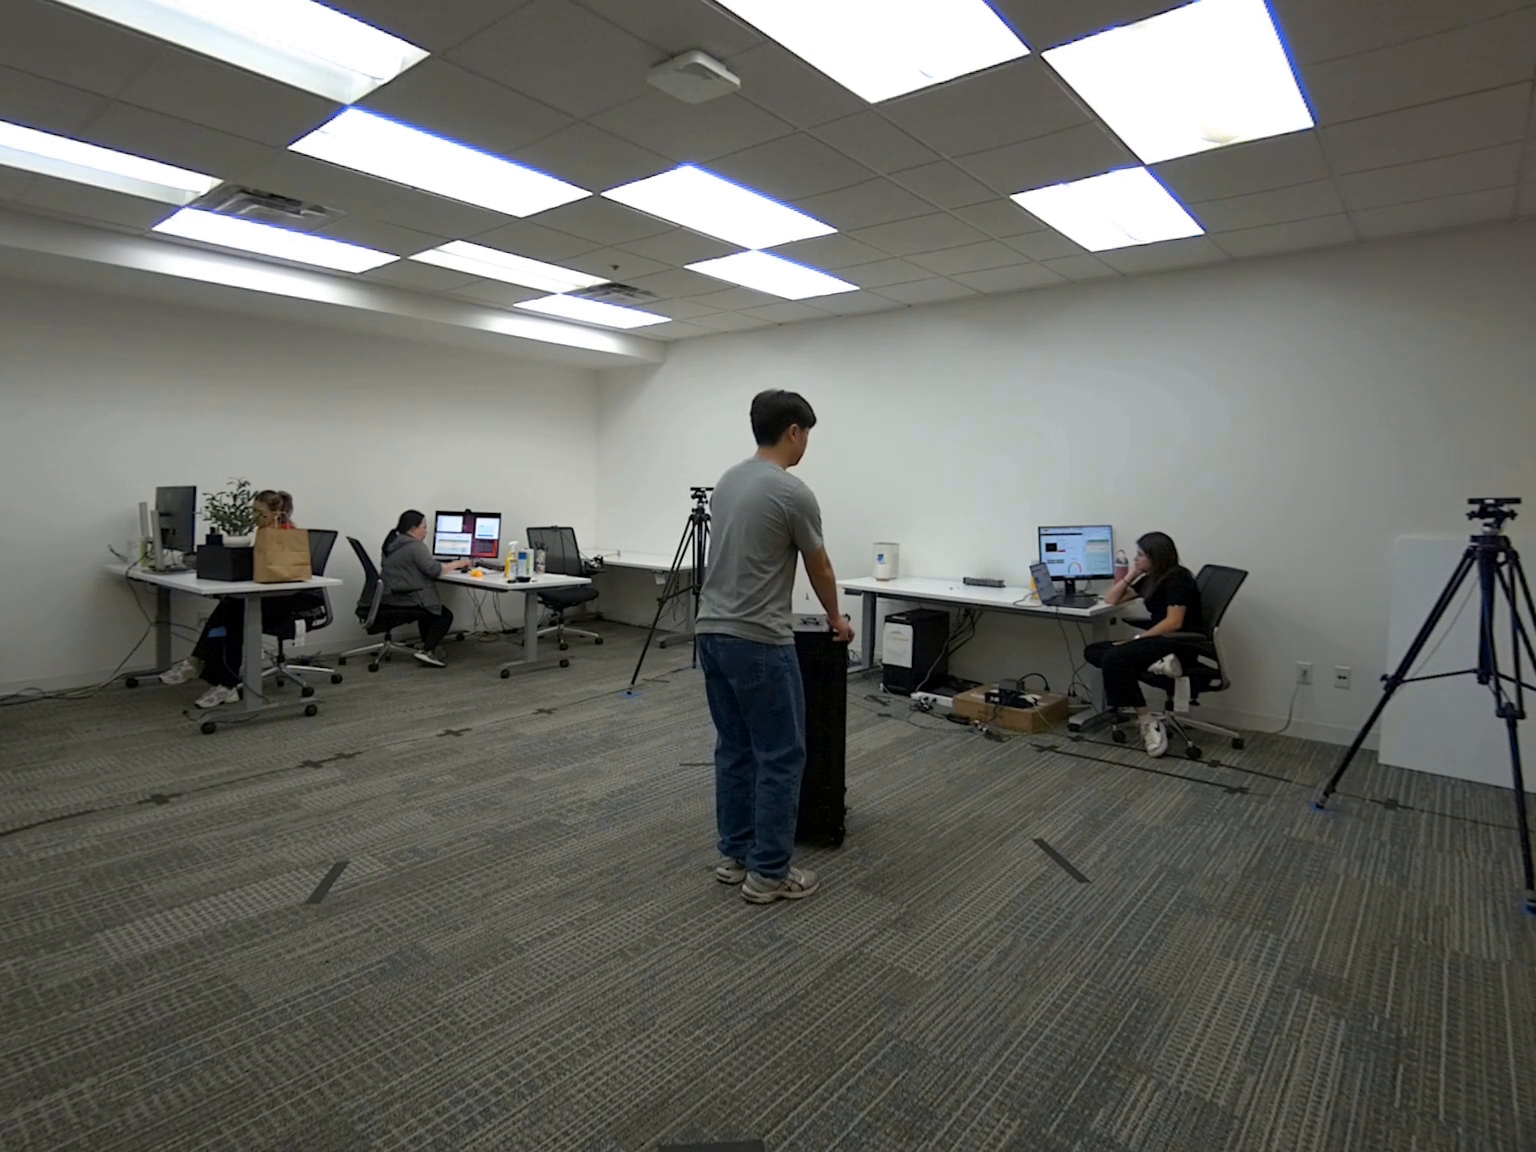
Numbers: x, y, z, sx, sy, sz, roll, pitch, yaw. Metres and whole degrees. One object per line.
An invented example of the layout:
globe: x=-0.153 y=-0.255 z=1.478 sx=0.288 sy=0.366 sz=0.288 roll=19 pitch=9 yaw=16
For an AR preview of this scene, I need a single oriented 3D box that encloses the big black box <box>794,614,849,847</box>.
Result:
big black box: x=0.137 y=0.615 z=3.502 sx=0.400 sy=0.859 sz=0.518 roll=0 pitch=3 yaw=7
